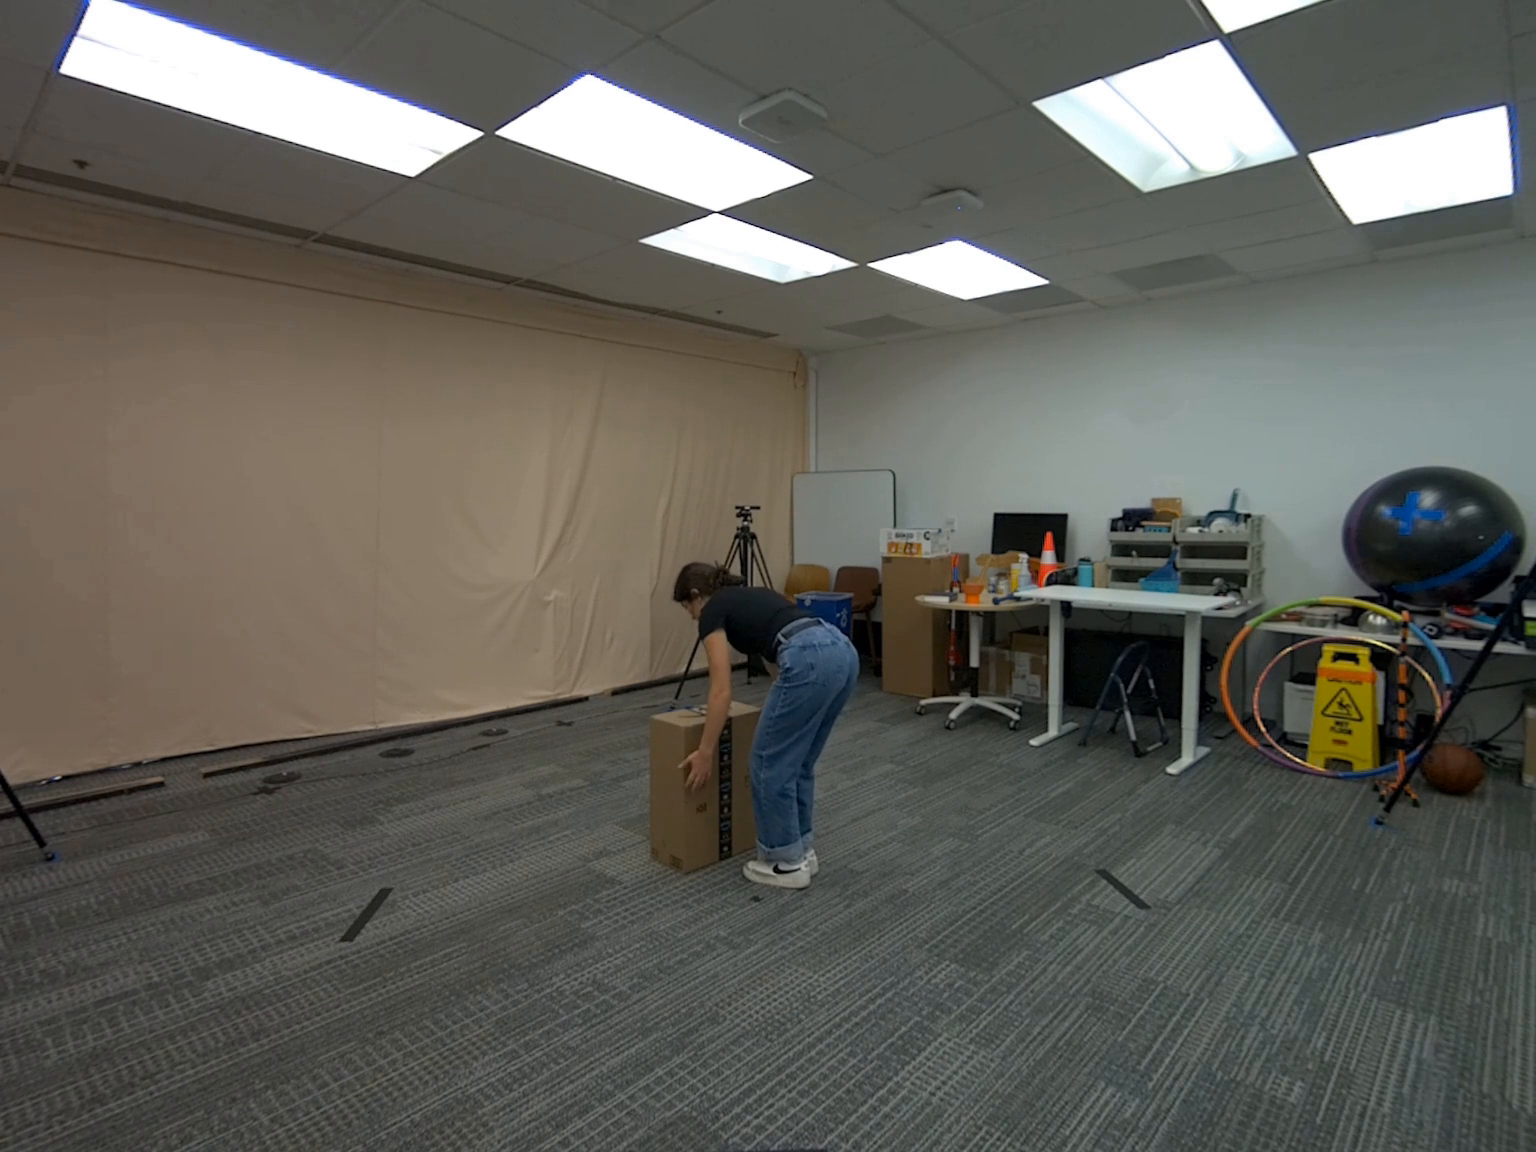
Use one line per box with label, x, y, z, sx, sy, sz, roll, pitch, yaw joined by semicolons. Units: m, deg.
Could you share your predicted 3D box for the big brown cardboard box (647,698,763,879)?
big brown cardboard box;-0.244;0.821;3.385;0.404;0.588;0.241;-1;3;-43
